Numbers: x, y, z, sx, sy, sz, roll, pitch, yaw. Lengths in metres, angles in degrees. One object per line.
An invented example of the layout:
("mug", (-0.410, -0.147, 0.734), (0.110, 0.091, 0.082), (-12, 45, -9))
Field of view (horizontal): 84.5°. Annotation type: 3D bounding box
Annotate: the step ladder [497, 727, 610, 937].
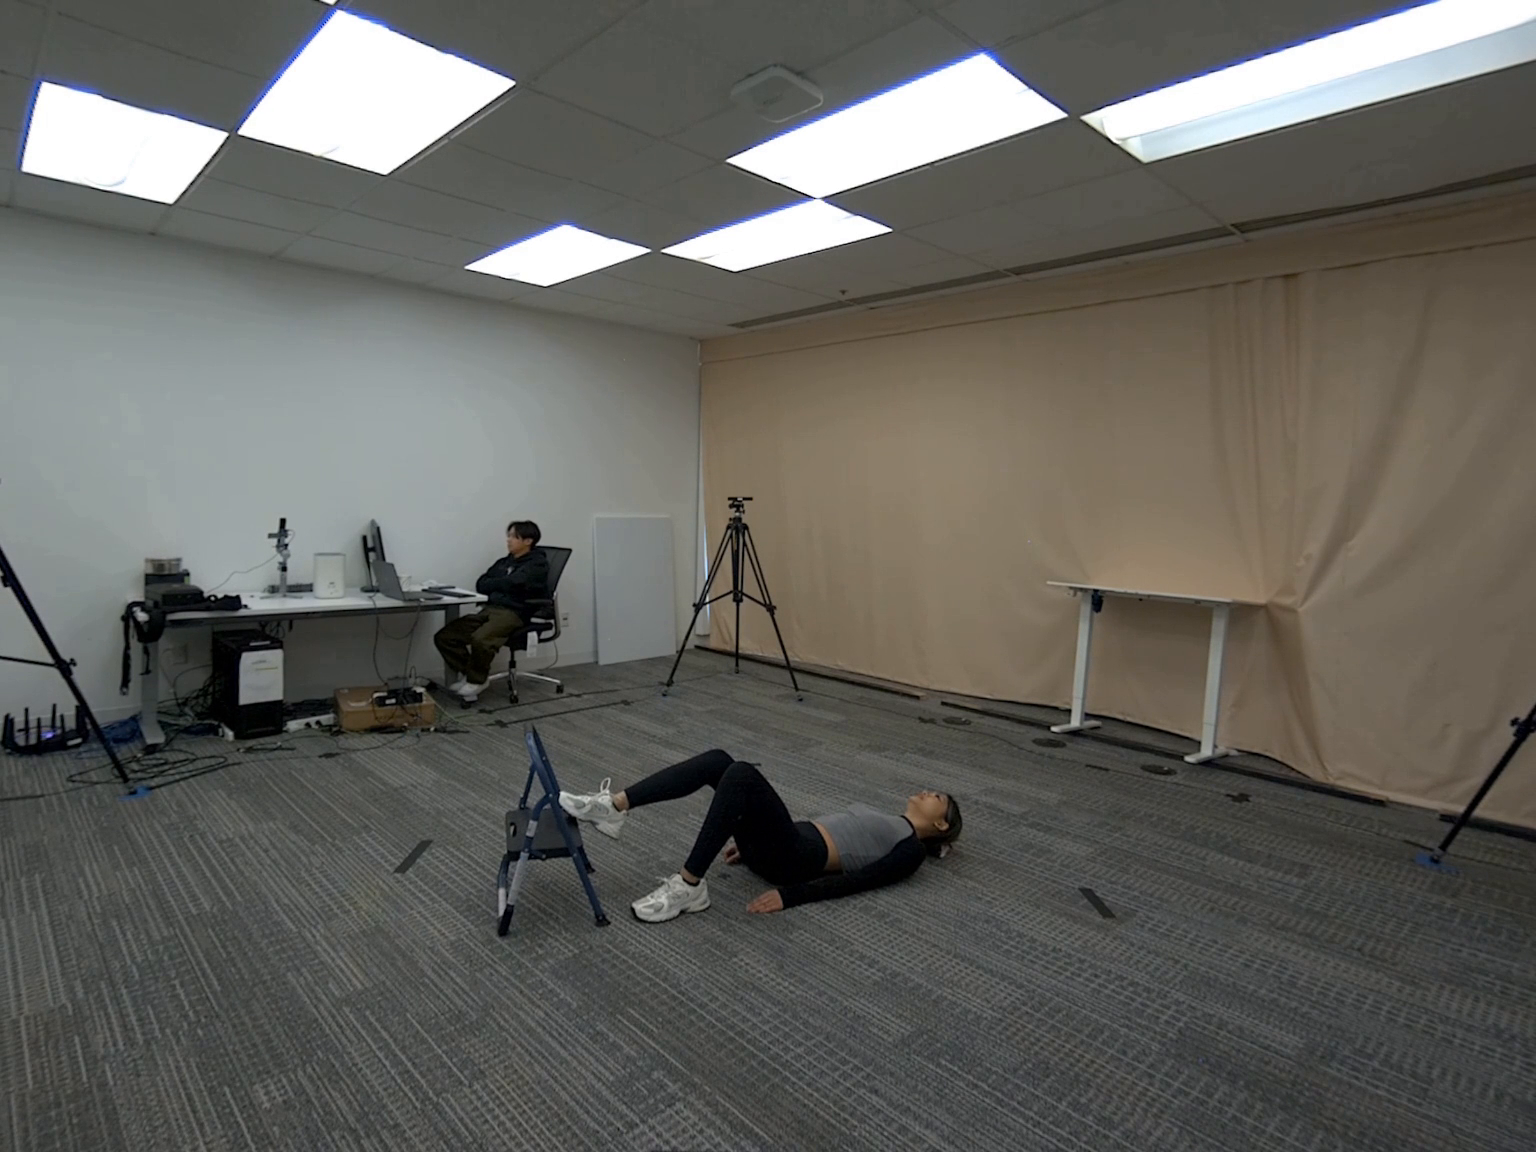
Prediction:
("step ladder", (-0.744, 0.816, 2.861), (0.344, 0.604, 0.438), (1, 4, -19))
